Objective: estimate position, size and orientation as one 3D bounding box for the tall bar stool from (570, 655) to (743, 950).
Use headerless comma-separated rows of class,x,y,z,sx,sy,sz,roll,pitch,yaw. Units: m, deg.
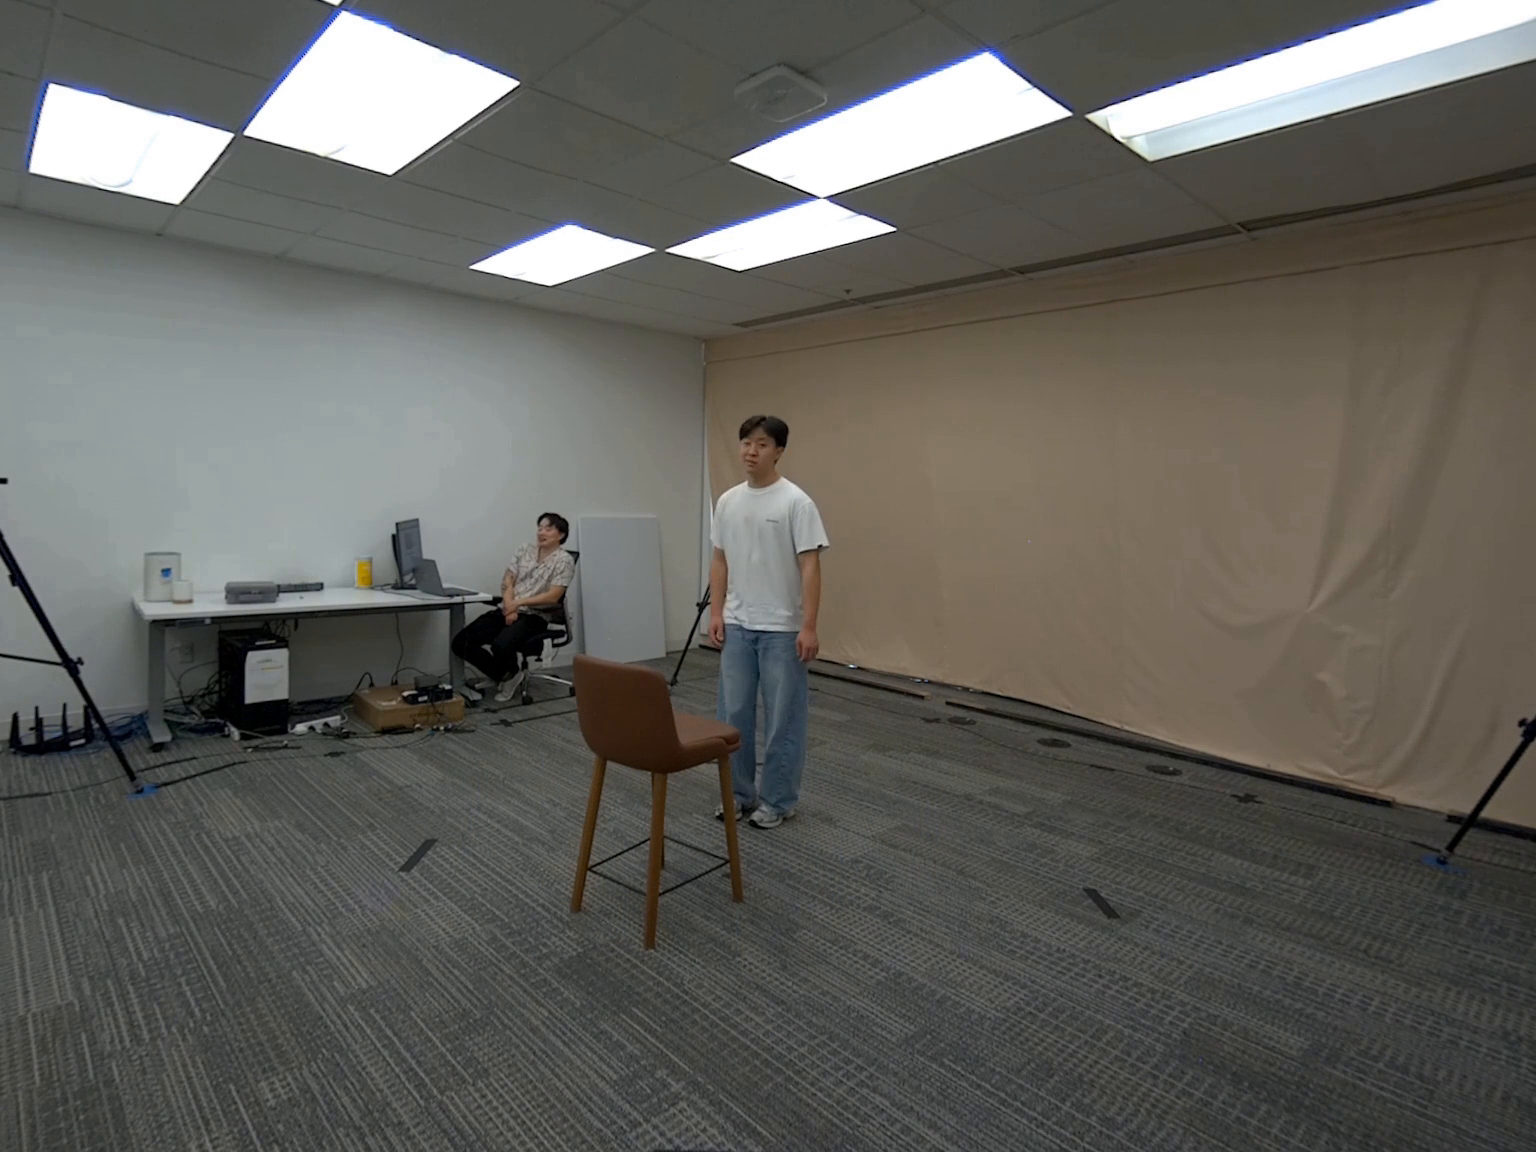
tall bar stool,-0.383,0.688,2.845,0.468,0.886,0.458,4,6,39
